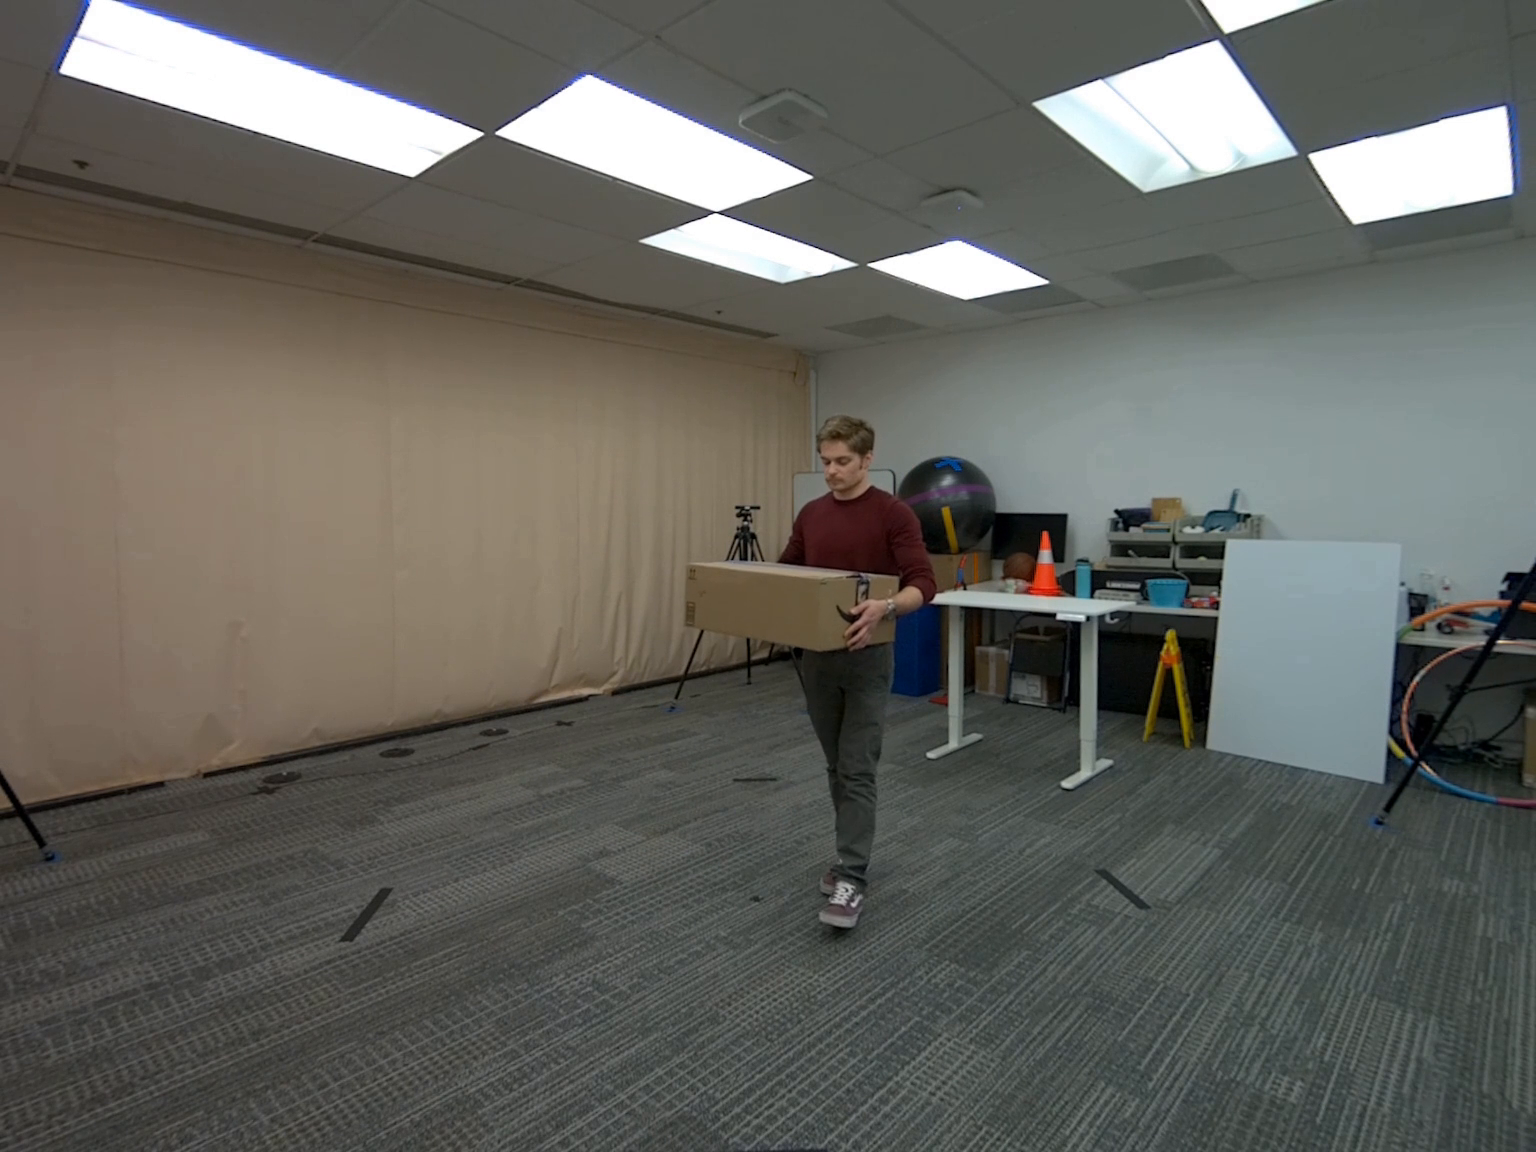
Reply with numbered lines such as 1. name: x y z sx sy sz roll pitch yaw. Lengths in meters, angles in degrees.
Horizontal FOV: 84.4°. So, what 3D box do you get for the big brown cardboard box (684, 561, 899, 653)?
1. big brown cardboard box: 0.072 0.086 2.781 0.609 0.233 0.404 6 5 41
